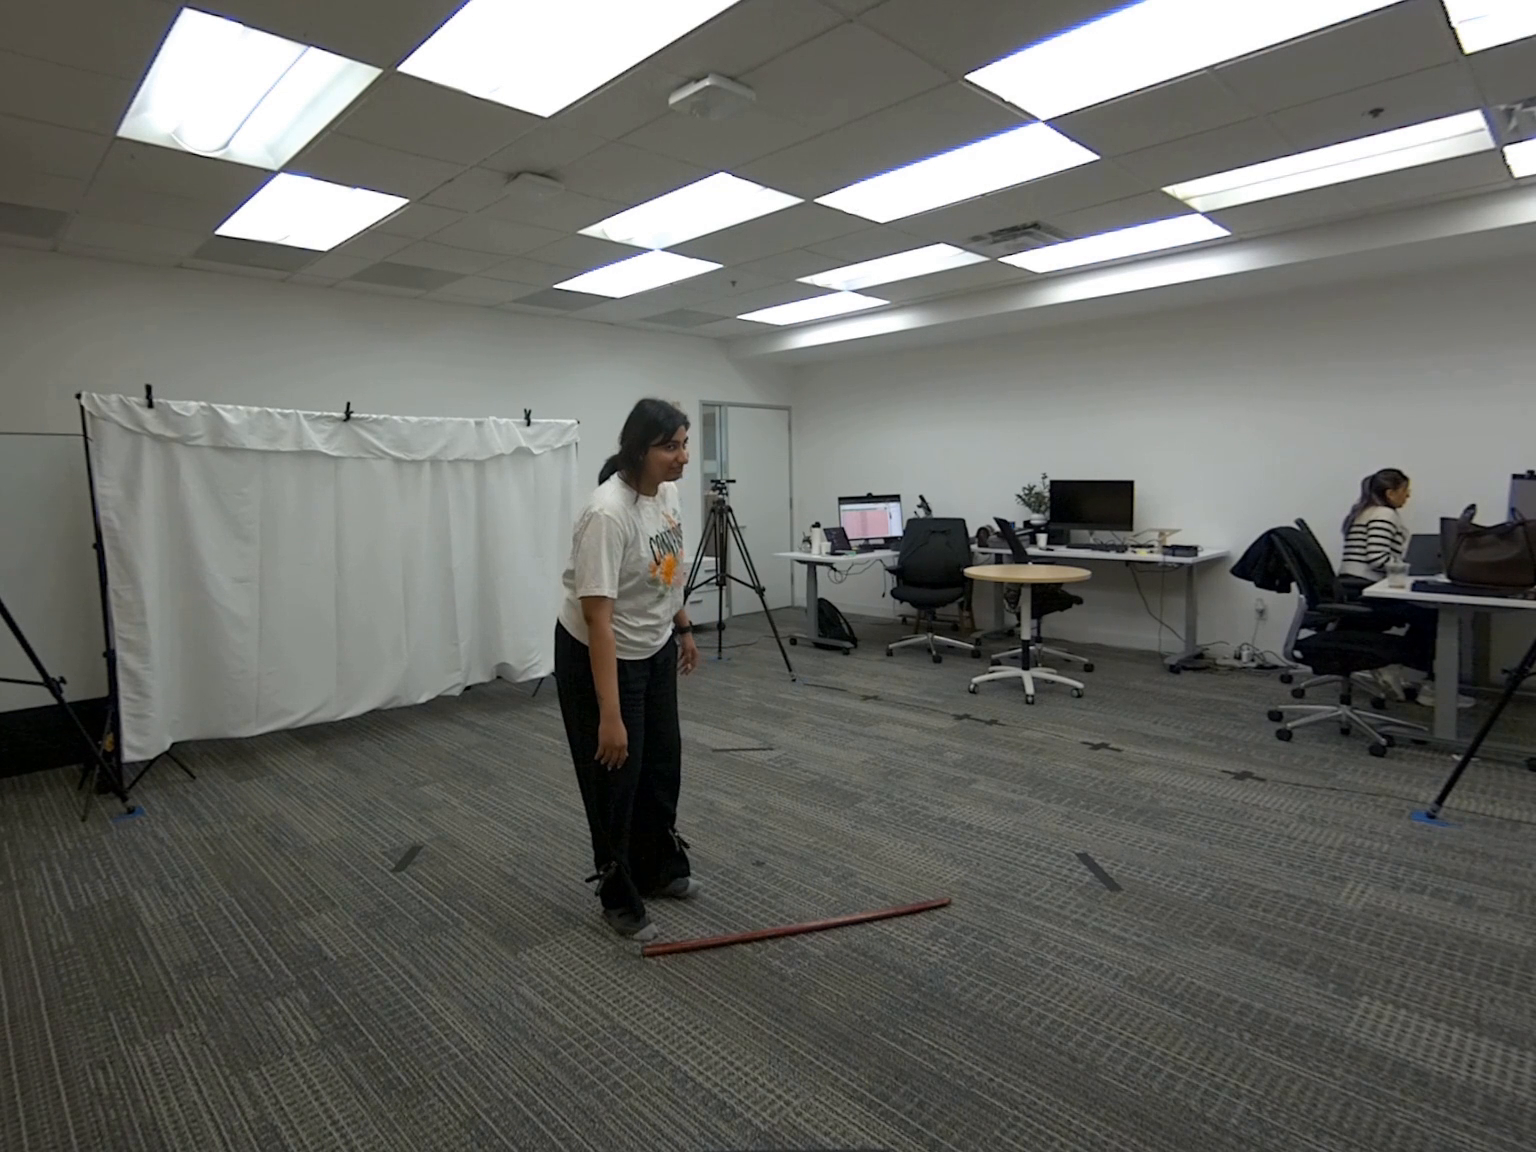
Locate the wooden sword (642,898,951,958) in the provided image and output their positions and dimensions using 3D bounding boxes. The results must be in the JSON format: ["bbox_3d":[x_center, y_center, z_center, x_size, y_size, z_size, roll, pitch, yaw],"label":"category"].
[{"bbox_3d":[0.111,1.068,2.648,1.012,0.023,0.053,-2,26,-14],"label":"wooden sword"}]
